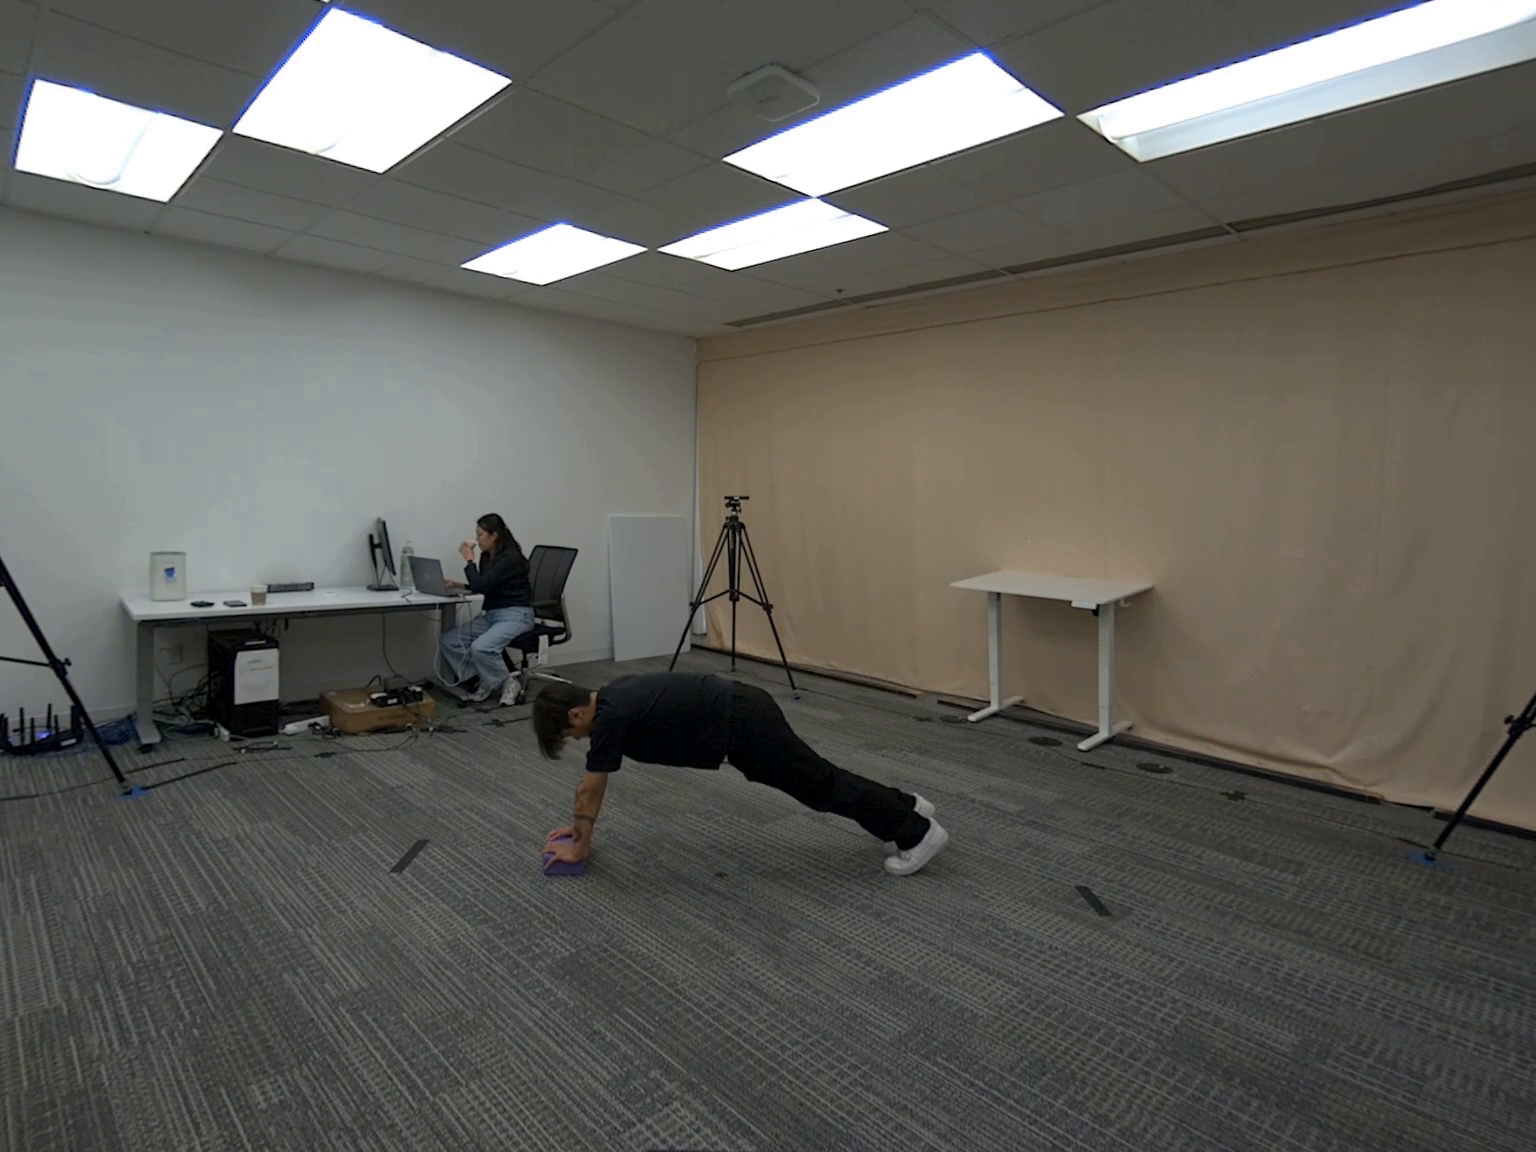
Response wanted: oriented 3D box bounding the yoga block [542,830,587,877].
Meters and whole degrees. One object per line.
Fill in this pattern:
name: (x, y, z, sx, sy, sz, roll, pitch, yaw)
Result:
yoga block: (-0.761, 1.043, 3.180, 0.148, 0.076, 0.231, 0, 5, -6)
